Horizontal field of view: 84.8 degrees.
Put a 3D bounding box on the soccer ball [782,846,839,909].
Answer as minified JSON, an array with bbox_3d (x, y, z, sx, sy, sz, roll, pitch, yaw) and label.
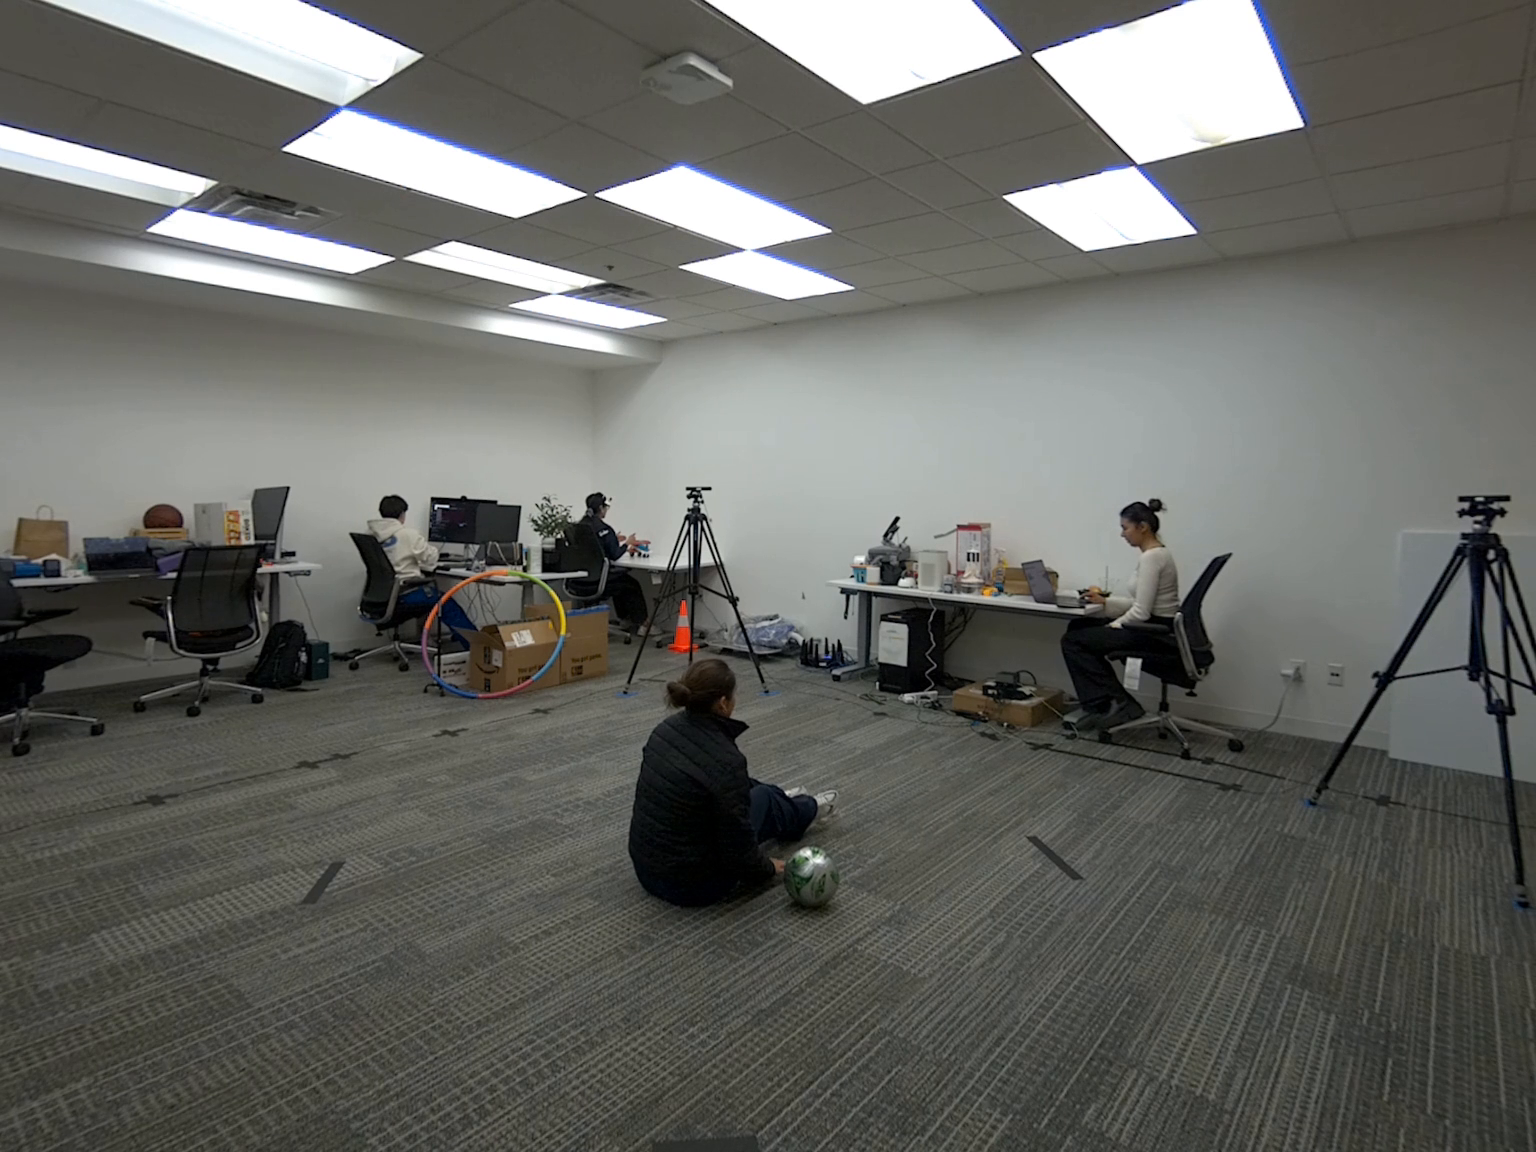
[{"bbox_3d":[0.137,1.005,2.845,0.187,0.187,0.188,1,4,-2],"label":"soccer ball"}]
